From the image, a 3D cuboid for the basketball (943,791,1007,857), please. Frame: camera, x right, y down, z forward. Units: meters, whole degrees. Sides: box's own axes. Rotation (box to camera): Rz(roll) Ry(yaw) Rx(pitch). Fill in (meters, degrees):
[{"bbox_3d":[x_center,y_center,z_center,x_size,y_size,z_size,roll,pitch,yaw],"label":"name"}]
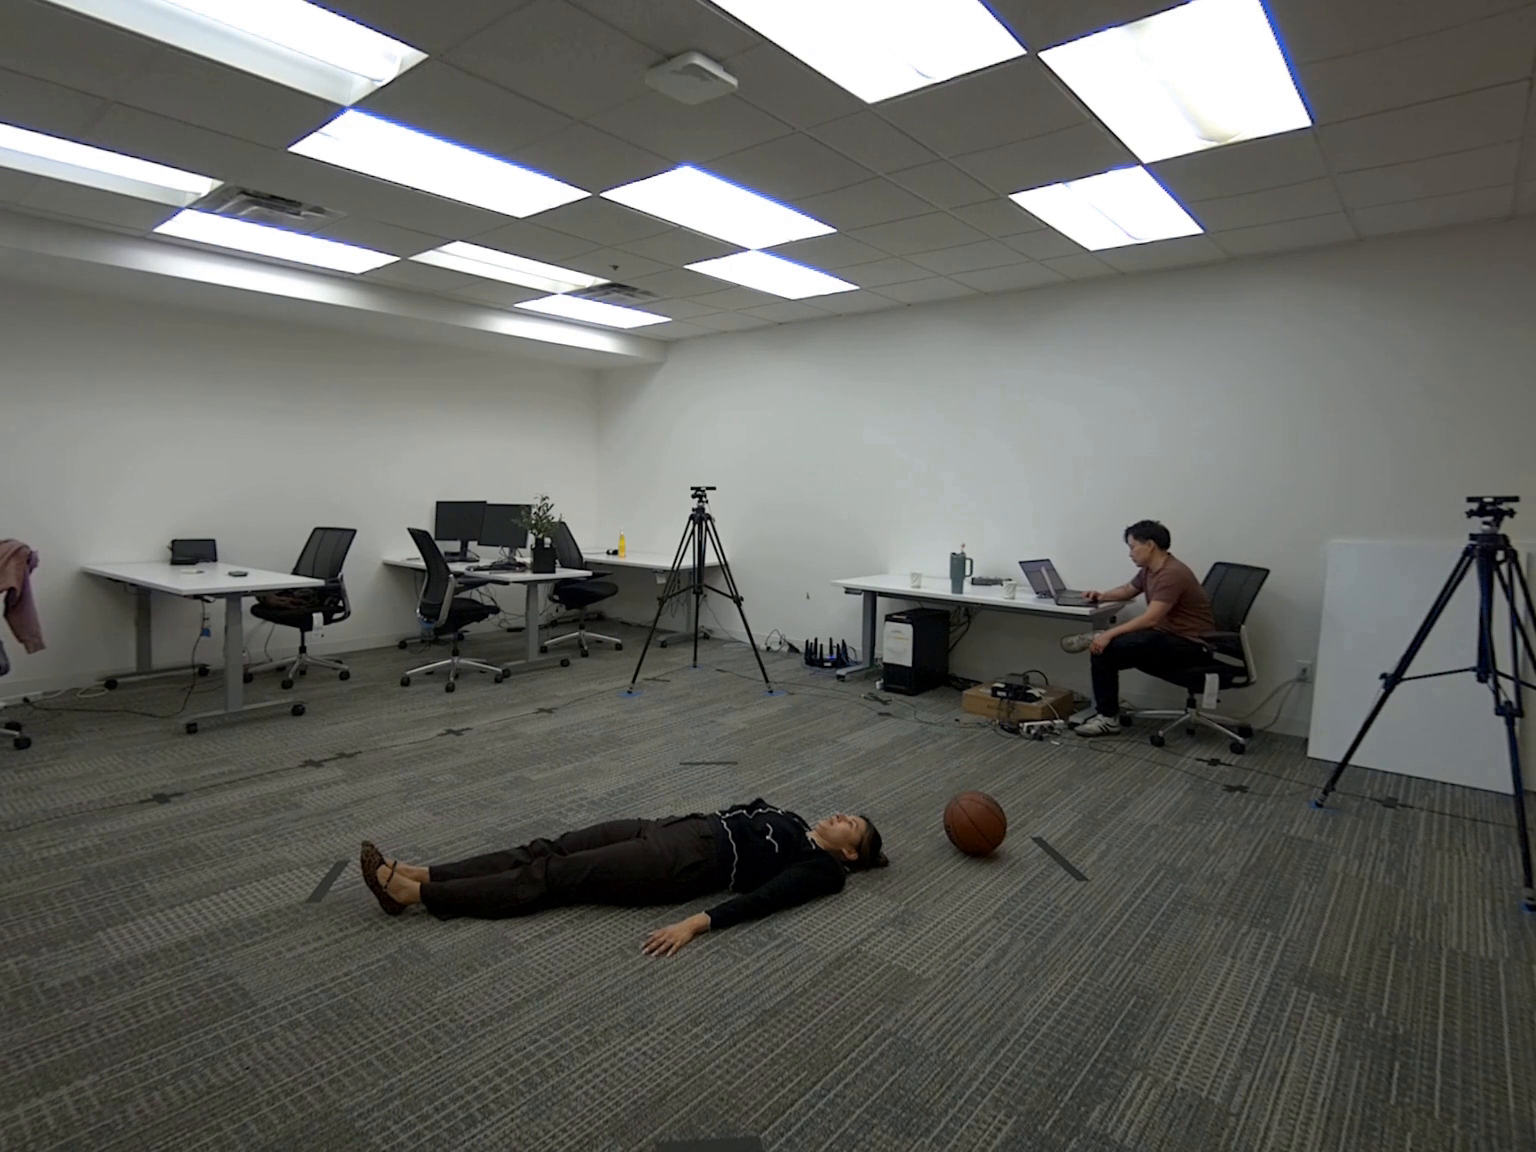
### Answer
[{"bbox_3d":[0.791,0.948,3.296,0.236,0.235,0.237,1,4,-2],"label":"basketball"}]
